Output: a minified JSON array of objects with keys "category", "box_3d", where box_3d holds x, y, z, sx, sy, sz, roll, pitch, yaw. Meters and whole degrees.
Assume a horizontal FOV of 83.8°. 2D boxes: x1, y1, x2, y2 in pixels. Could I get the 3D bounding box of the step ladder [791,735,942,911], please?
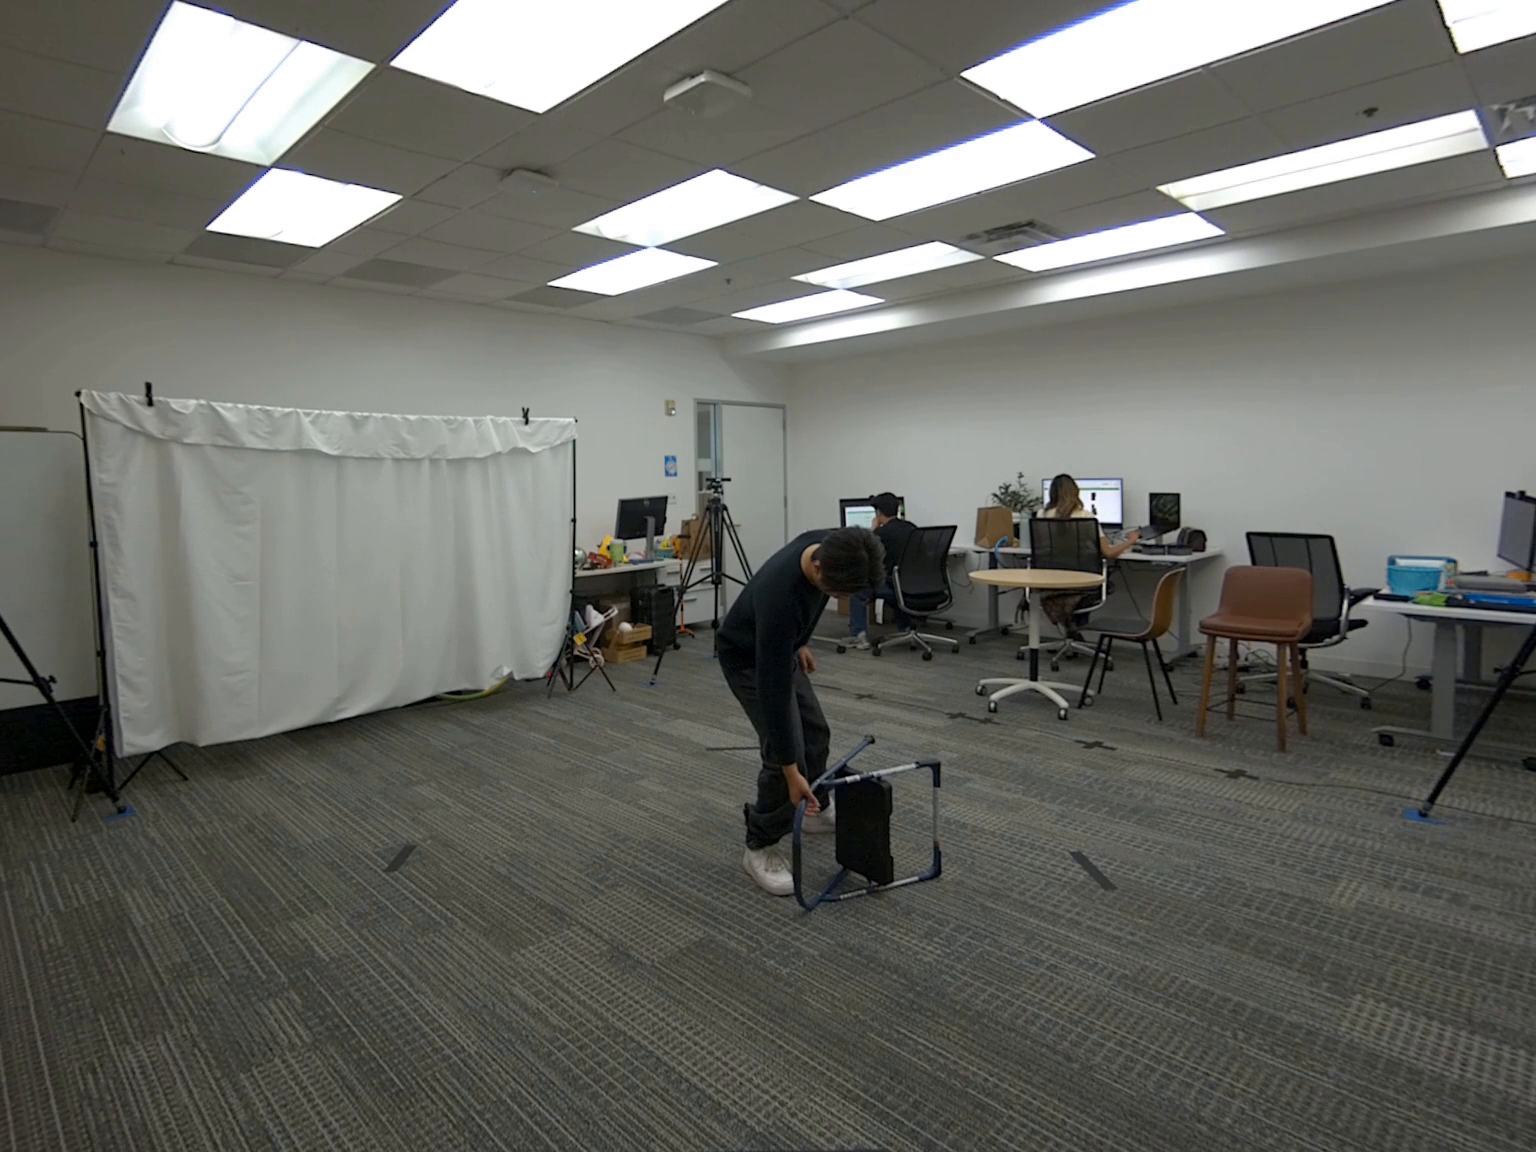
[{"category":"step ladder","box_3d":[0.267,0.851,2.903,0.591,0.428,0.360,-8,8,-39]}]
